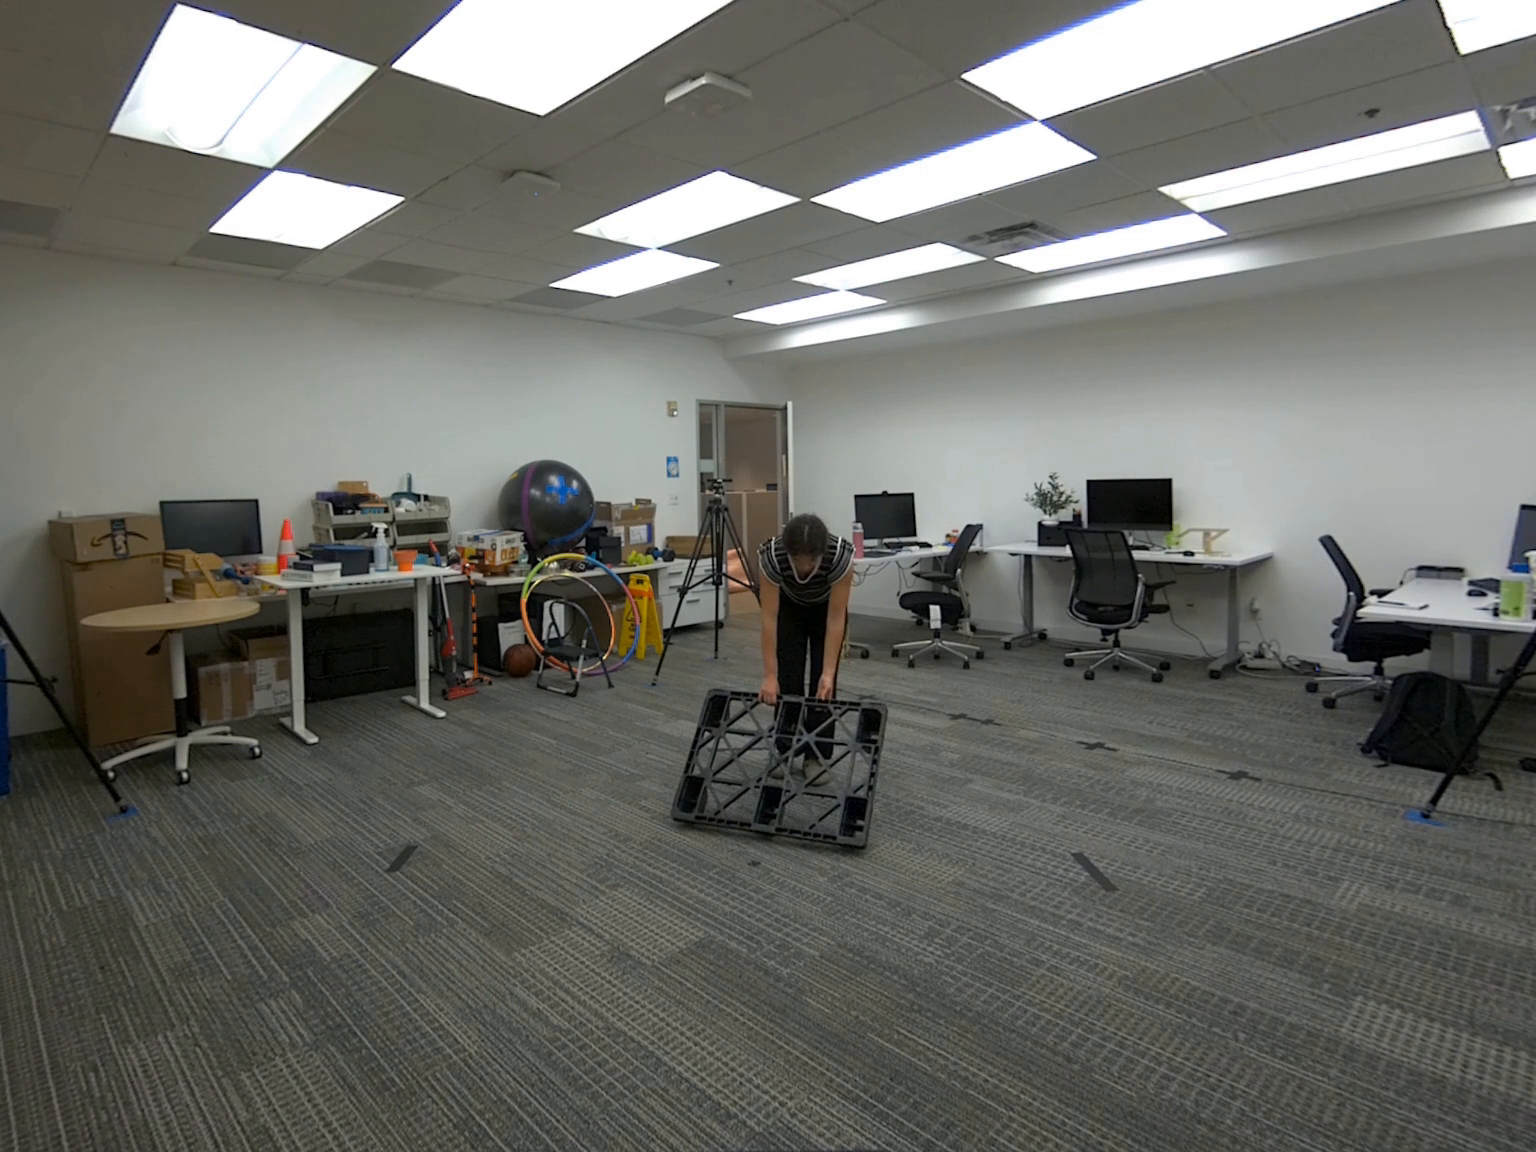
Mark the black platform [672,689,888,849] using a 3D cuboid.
[{"bbox_3d":[0.064,0.781,3.501,0.822,0.615,0.138,0,-38,22],"label":"black platform"}]
